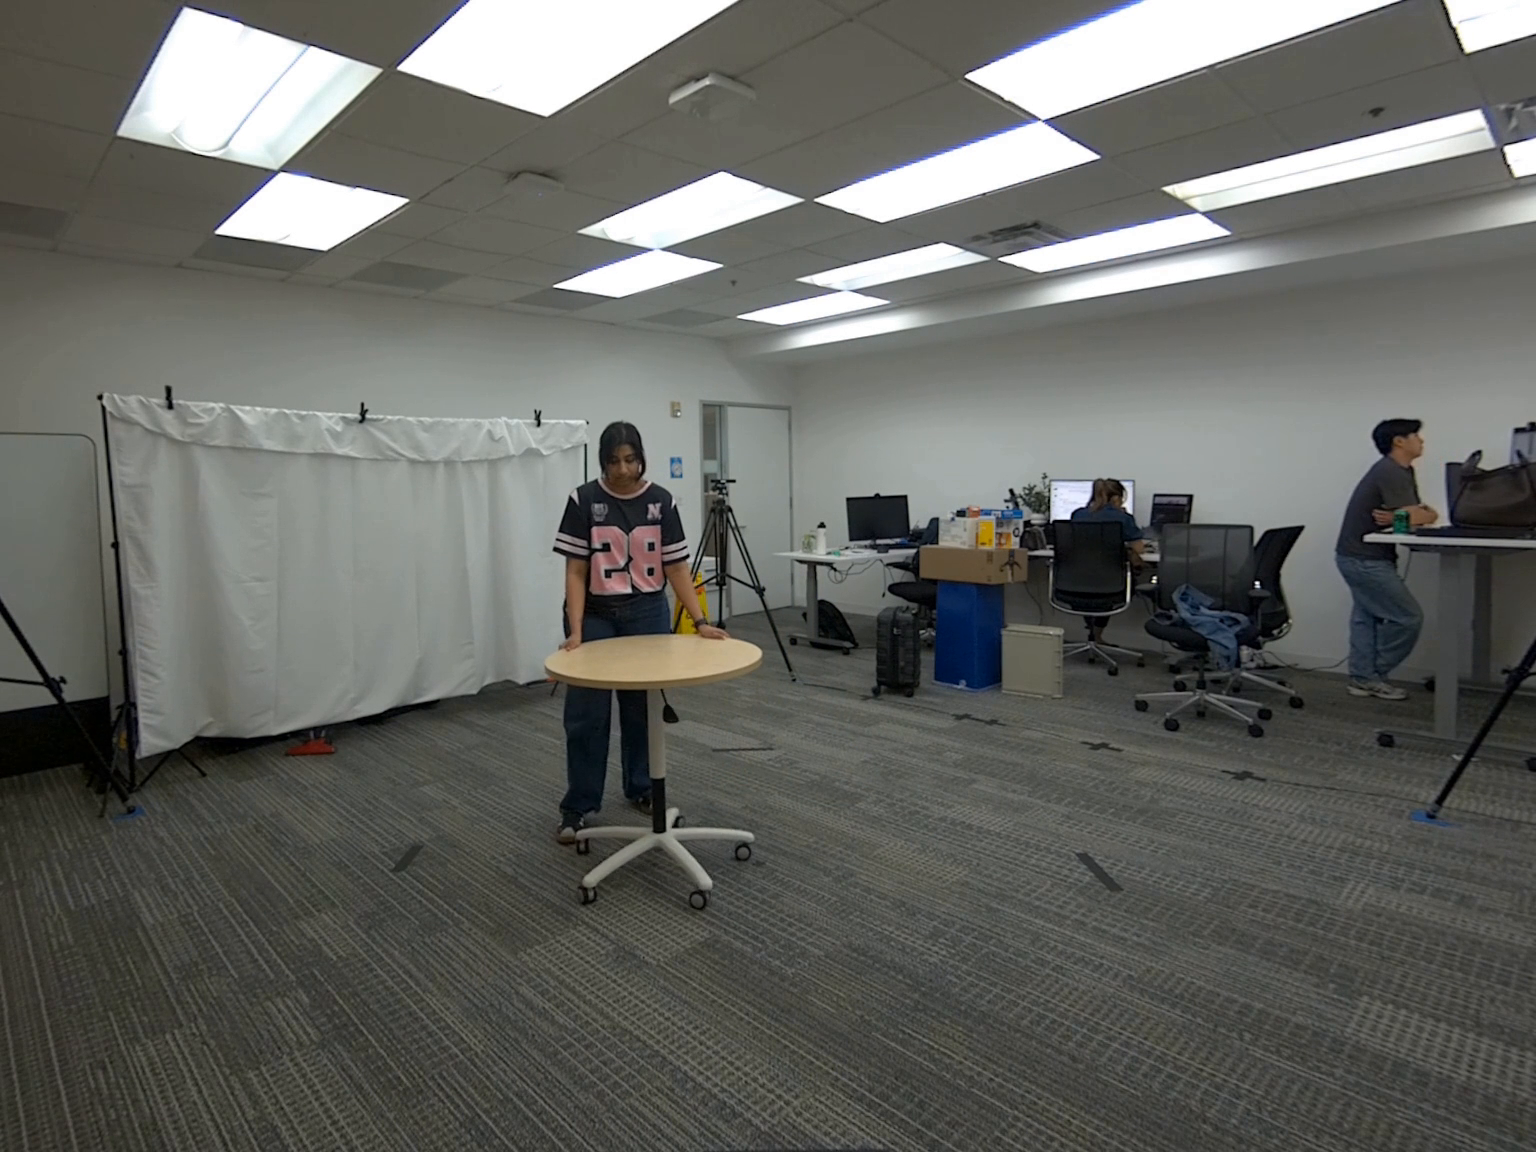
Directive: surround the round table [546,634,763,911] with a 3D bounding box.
[{"bbox_3d":[-0.387,0.665,3.068,0.784,0.783,0.789,-1,5,-2],"label":"round table"}]
